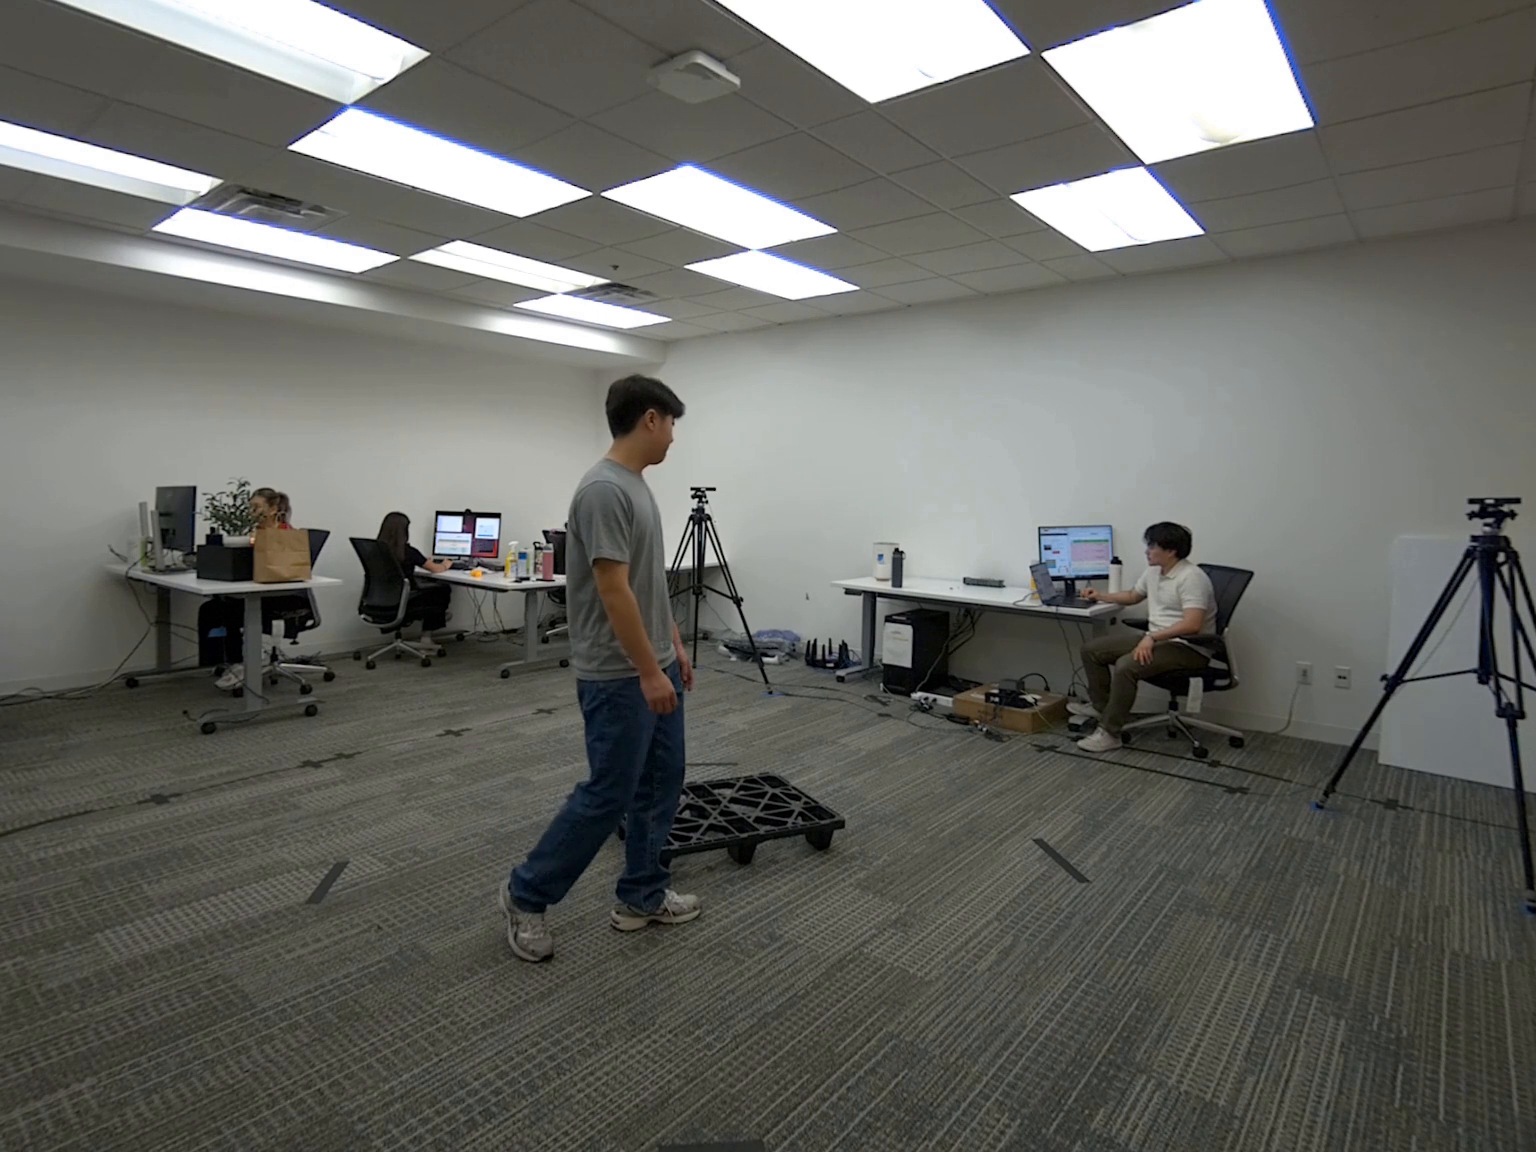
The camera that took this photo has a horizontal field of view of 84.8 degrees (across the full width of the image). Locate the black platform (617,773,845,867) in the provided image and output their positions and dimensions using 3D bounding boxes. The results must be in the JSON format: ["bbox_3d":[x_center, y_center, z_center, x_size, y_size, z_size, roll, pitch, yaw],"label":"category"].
[{"bbox_3d":[-0.193,0.974,3.360,0.787,0.143,0.622,-2,7,-25],"label":"black platform"}]
